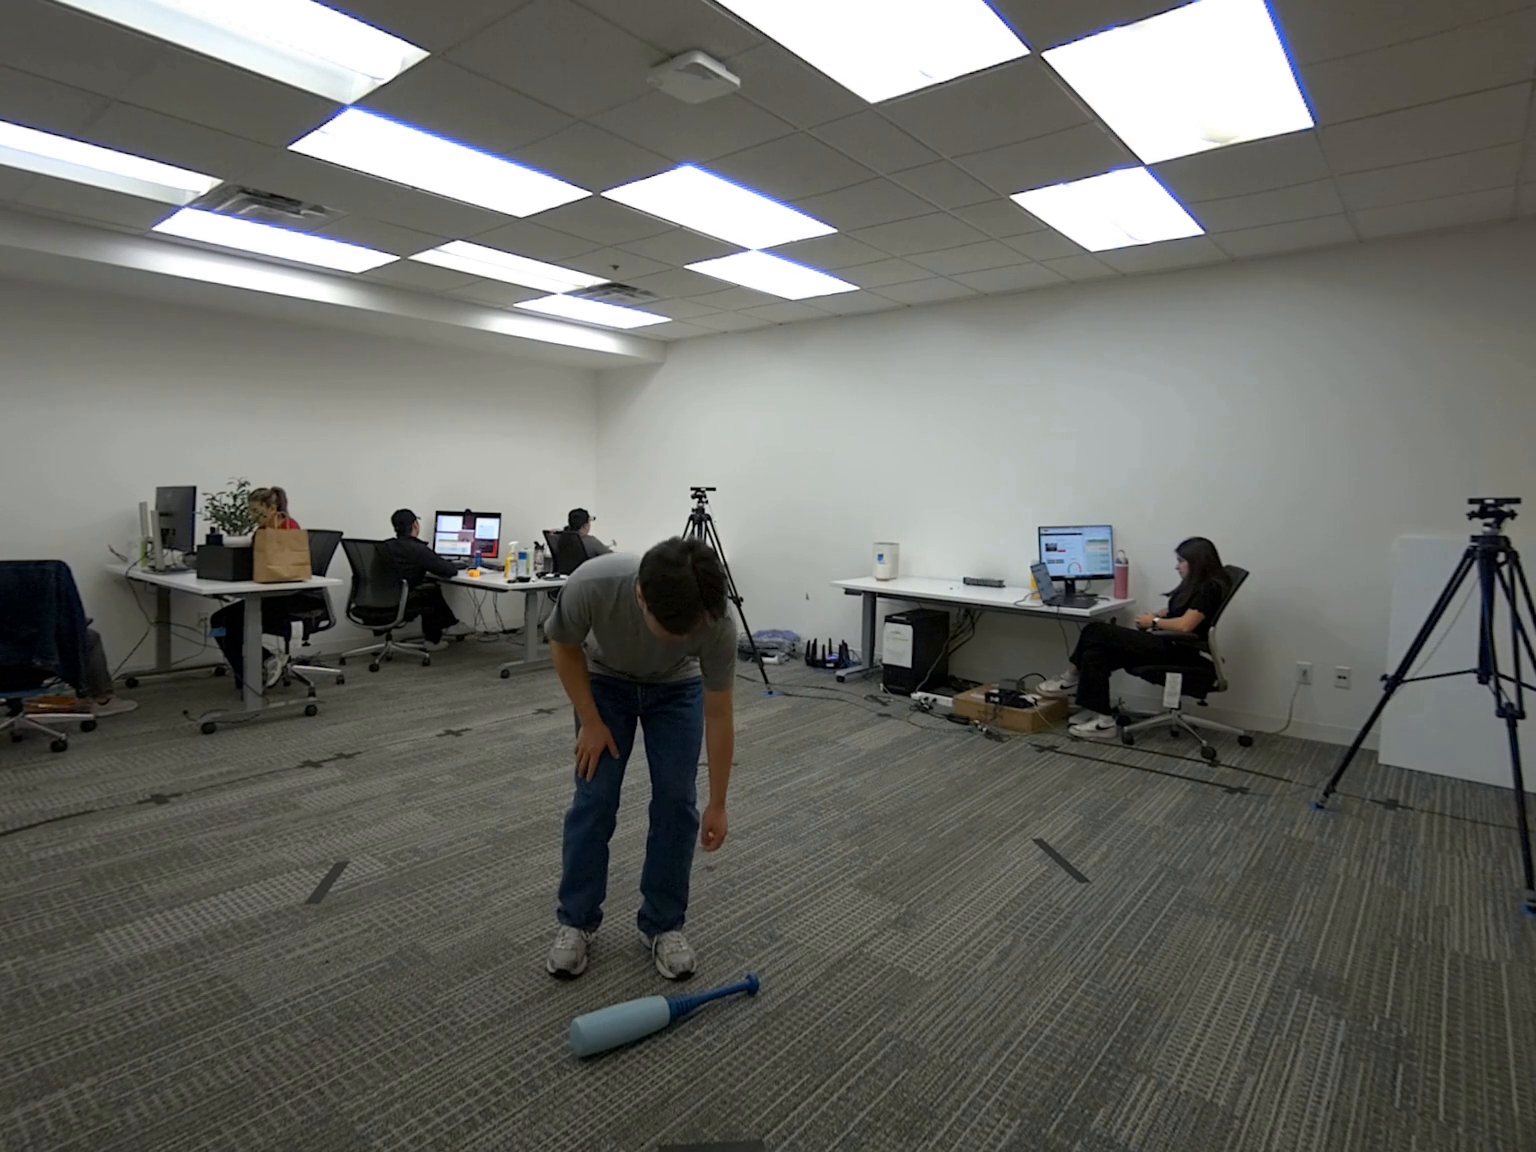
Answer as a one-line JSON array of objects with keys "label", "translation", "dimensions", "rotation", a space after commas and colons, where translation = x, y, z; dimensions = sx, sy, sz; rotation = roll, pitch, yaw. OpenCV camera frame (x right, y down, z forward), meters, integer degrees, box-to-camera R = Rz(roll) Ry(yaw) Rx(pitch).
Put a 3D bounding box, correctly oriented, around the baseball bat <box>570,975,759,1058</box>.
[{"label": "baseball bat", "translation": [-0.262, 1.121, 2.208], "dimensions": [0.527, 0.089, 0.092], "rotation": [1, 3, -33]}]
